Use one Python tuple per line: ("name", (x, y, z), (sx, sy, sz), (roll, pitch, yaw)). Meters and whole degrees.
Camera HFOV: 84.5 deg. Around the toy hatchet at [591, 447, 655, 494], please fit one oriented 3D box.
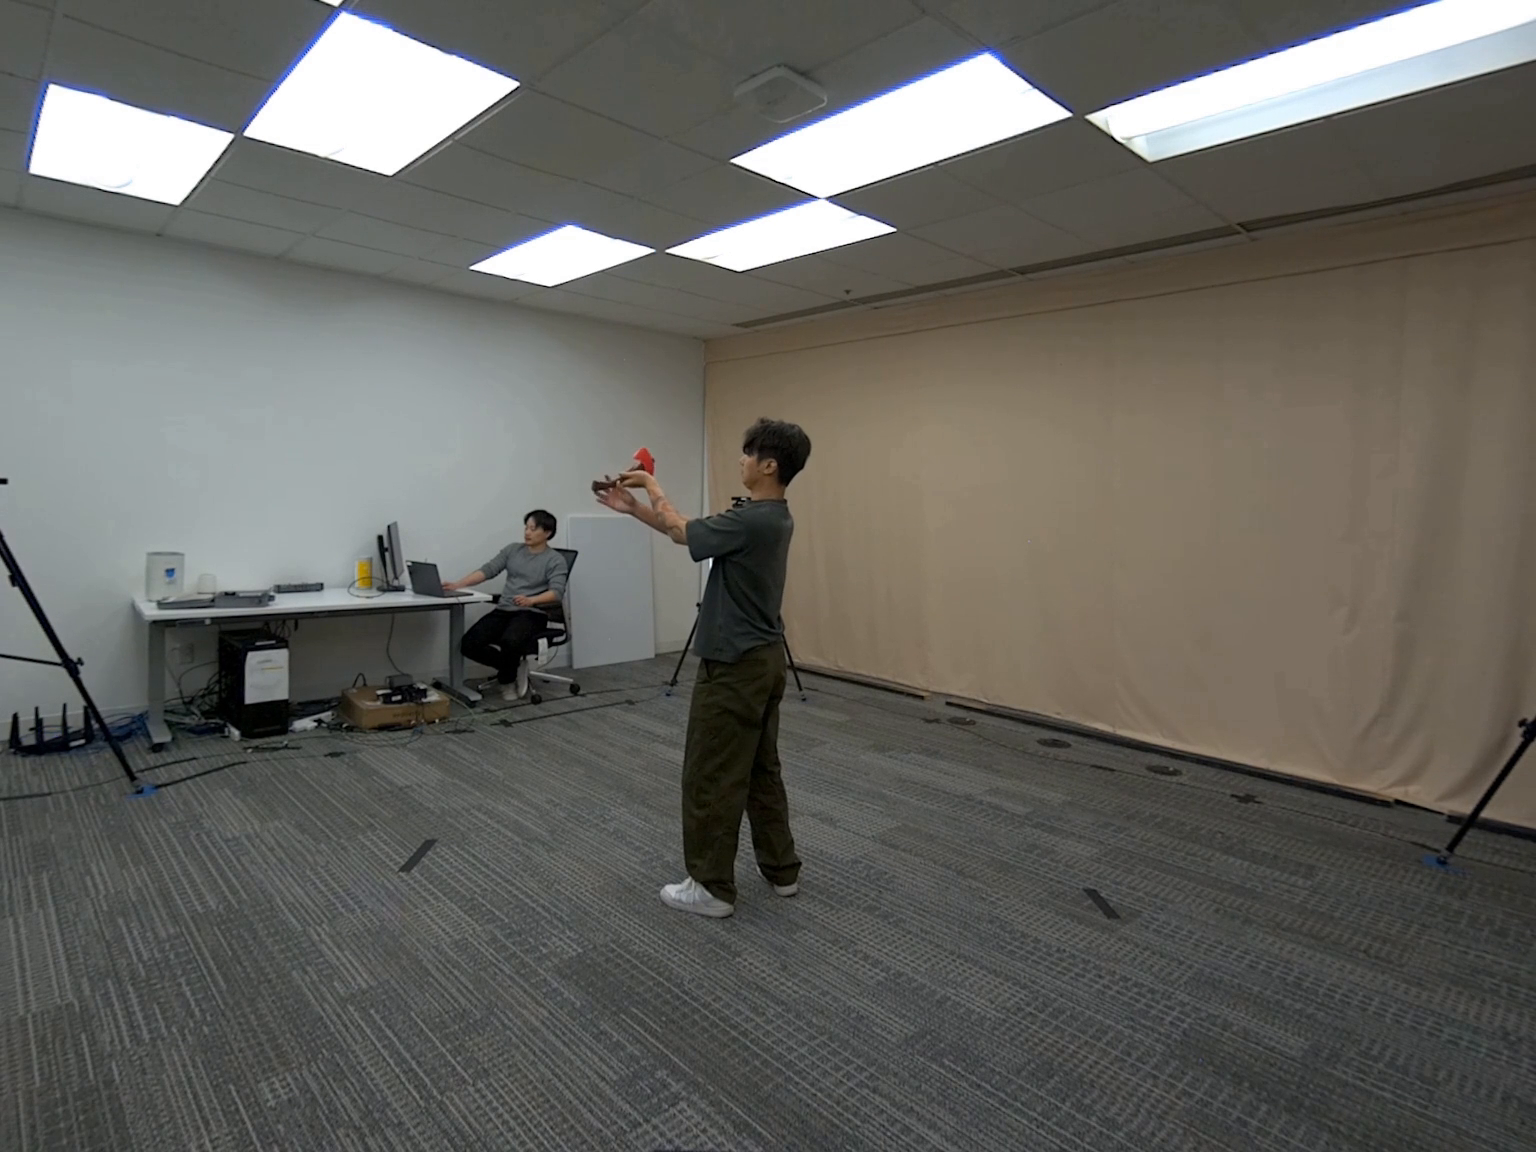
("toy hatchet", (-0.520, -0.384, 2.974), (0.030, 0.129, 0.266), (26, 31, 36))
